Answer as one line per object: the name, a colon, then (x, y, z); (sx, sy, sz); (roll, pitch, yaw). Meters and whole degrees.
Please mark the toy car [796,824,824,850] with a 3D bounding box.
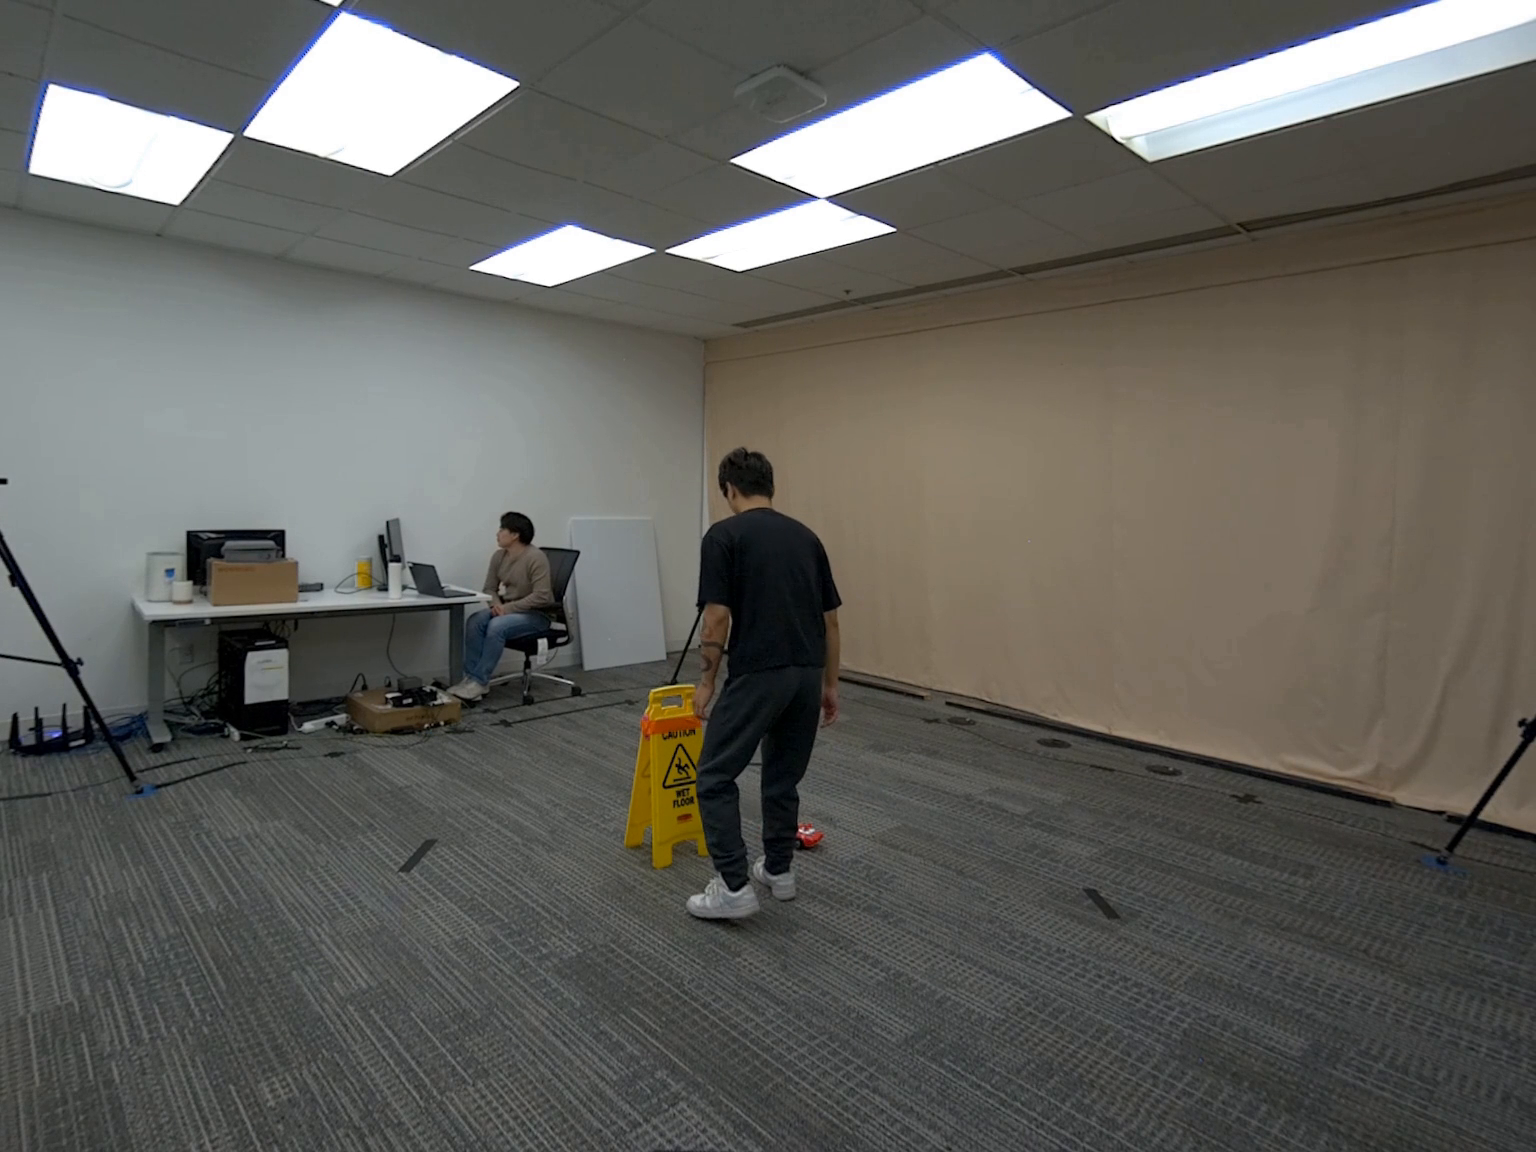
toy car: (0.098, 1.057, 3.432); (0.259, 0.083, 0.127); (-8, -2, 35)
